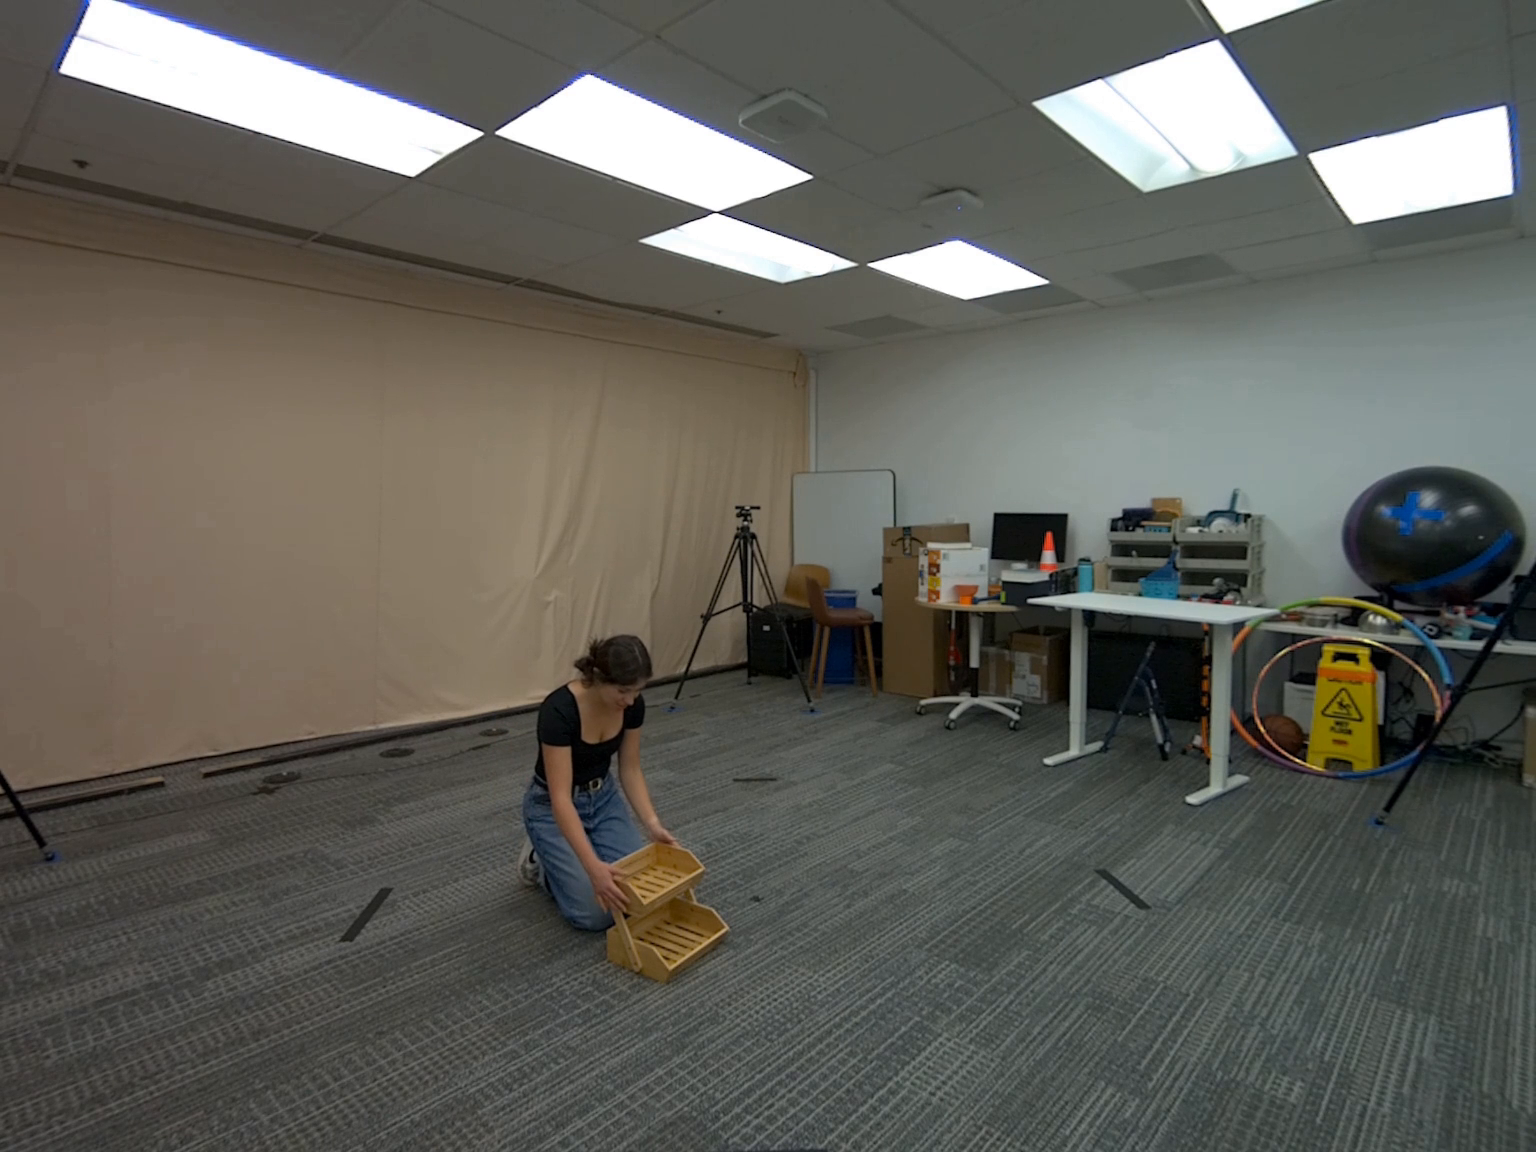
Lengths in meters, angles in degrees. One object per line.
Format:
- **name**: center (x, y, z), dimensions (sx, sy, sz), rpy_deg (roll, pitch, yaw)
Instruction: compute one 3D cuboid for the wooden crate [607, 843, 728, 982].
- **wooden crate**: center (-0.327, 1.045, 2.639), dimensions (0.311, 0.273, 0.315), rpy_deg (2, 4, 35)
